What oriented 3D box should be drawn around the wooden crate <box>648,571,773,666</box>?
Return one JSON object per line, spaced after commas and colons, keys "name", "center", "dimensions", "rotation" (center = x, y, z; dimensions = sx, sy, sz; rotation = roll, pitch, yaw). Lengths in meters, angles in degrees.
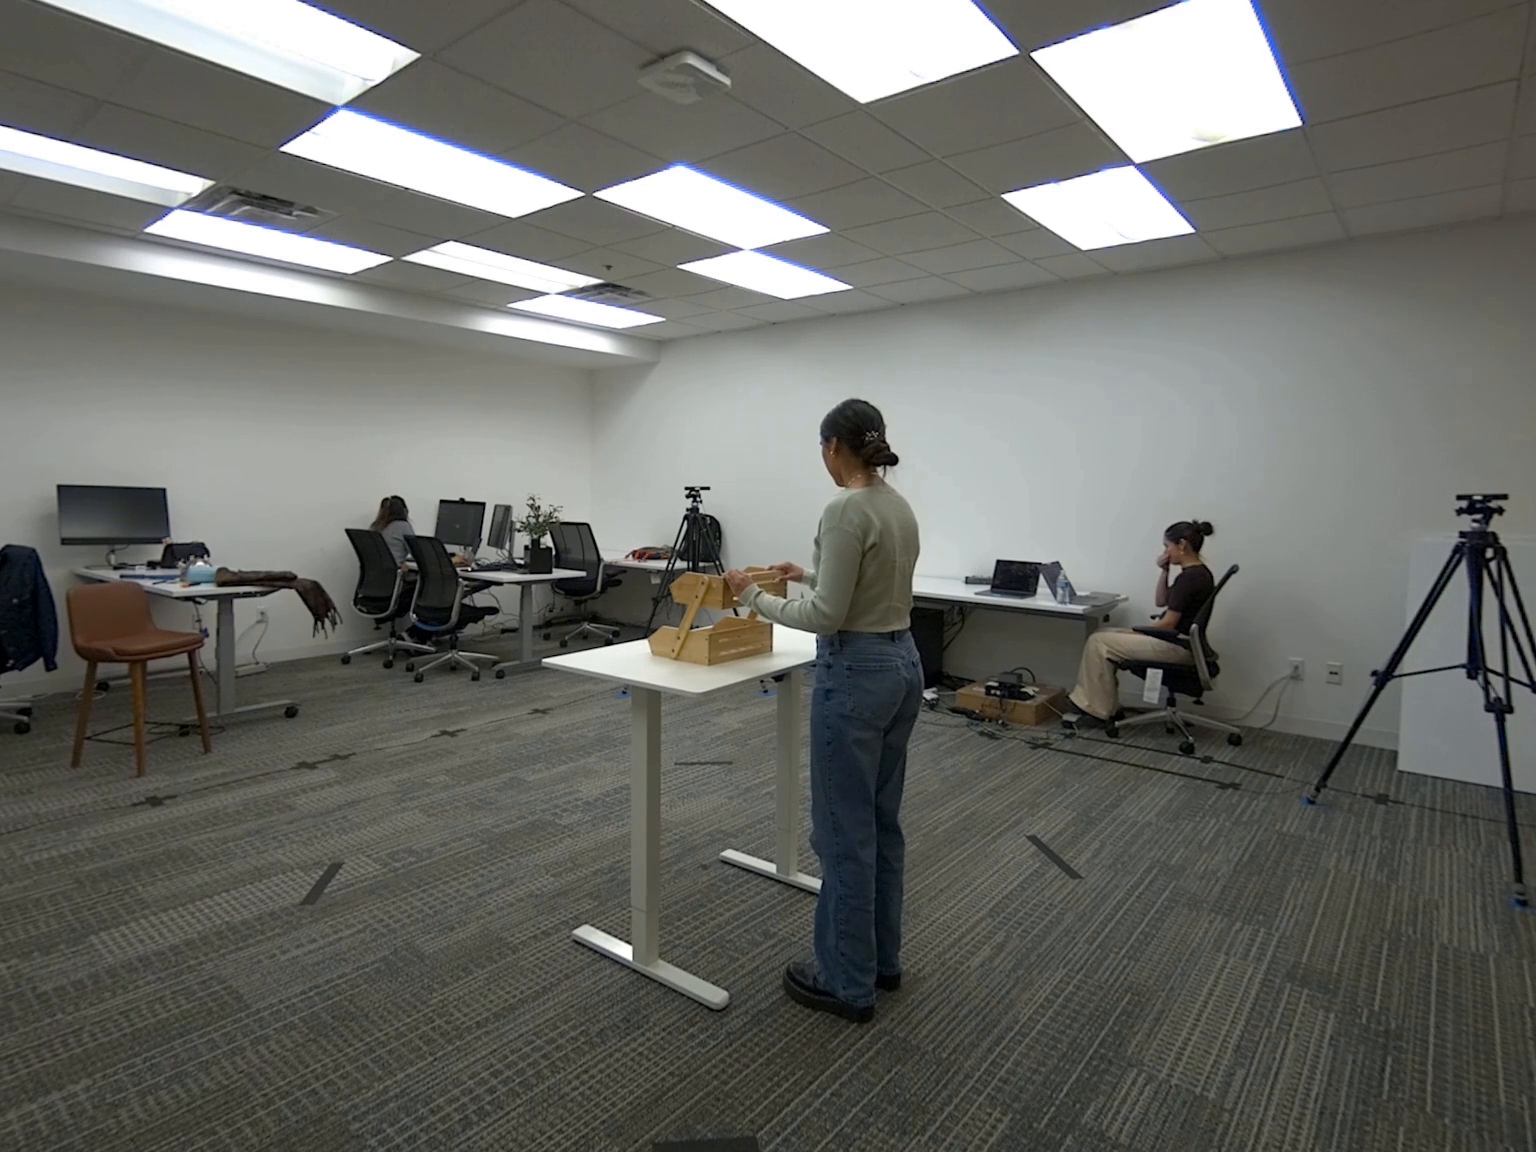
{"name": "wooden crate", "center": [-0.163, 0.106, 2.590], "dimensions": [0.312, 0.272, 0.315], "rotation": [5, 7, 40]}
